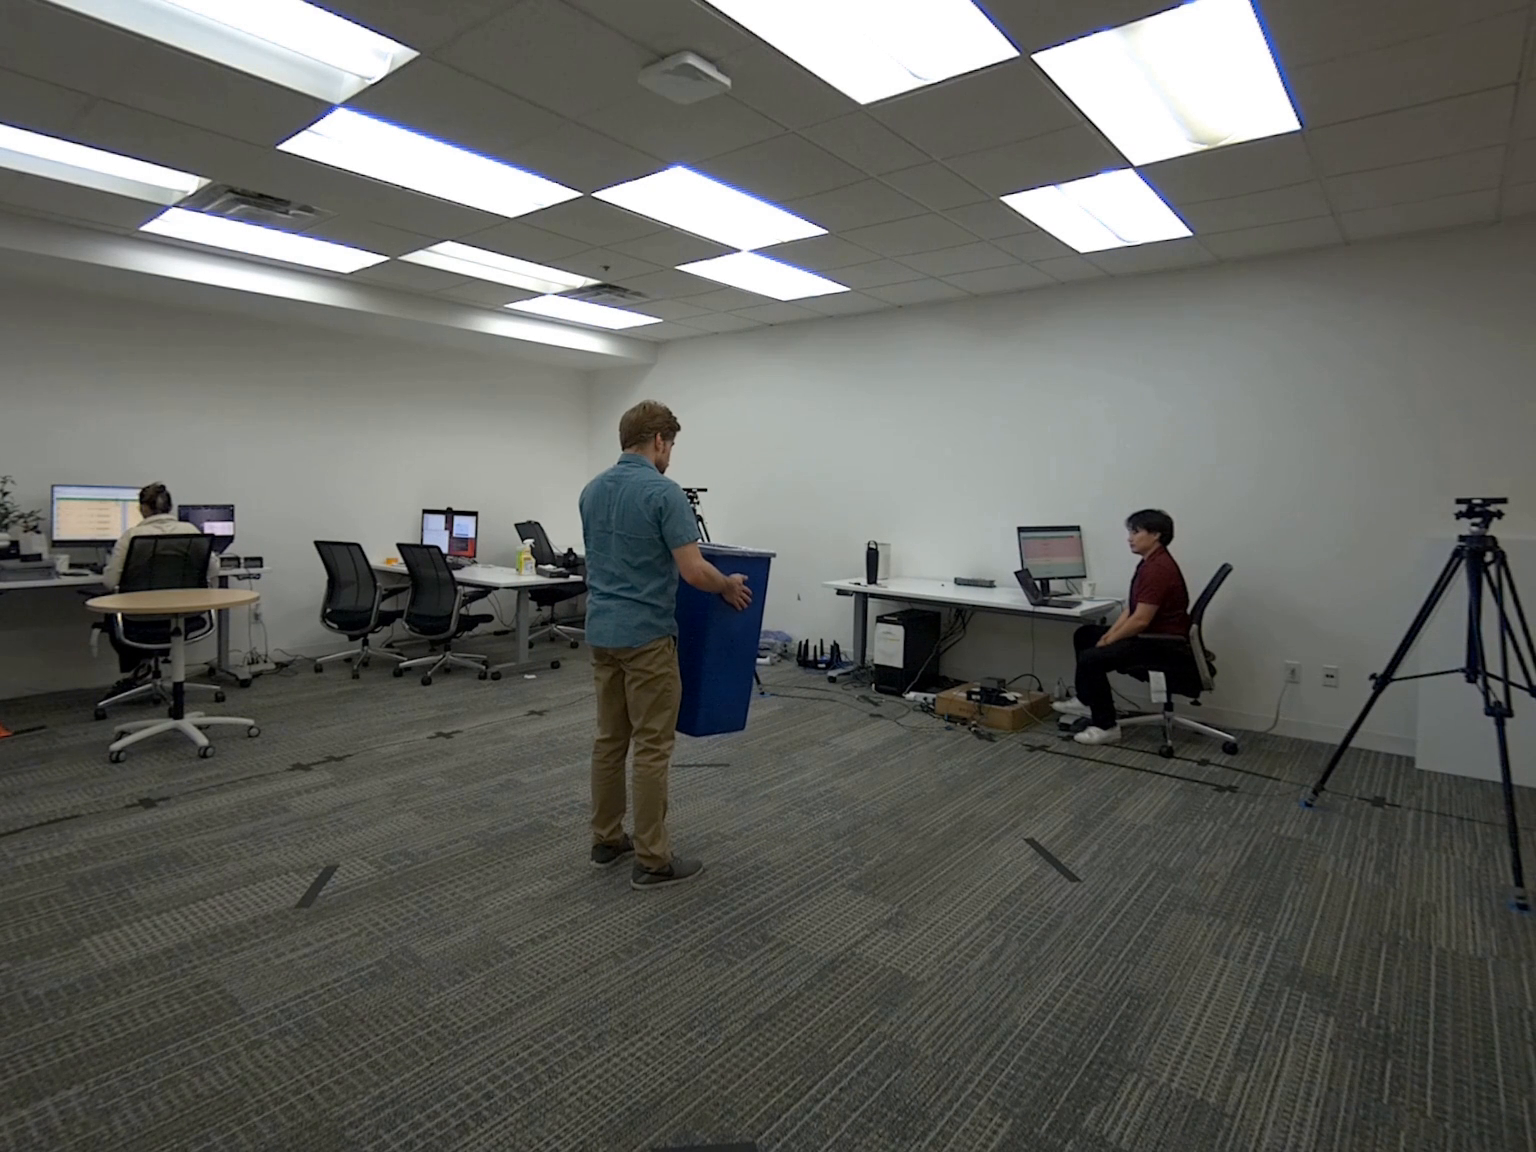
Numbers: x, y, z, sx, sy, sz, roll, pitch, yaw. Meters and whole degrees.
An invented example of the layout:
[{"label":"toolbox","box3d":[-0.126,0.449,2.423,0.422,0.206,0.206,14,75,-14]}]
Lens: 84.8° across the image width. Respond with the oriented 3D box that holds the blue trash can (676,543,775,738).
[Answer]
[{"label":"blue trash can","box3d":[-0.250,0.236,3.356,0.387,0.713,0.365,6,0,41]}]
